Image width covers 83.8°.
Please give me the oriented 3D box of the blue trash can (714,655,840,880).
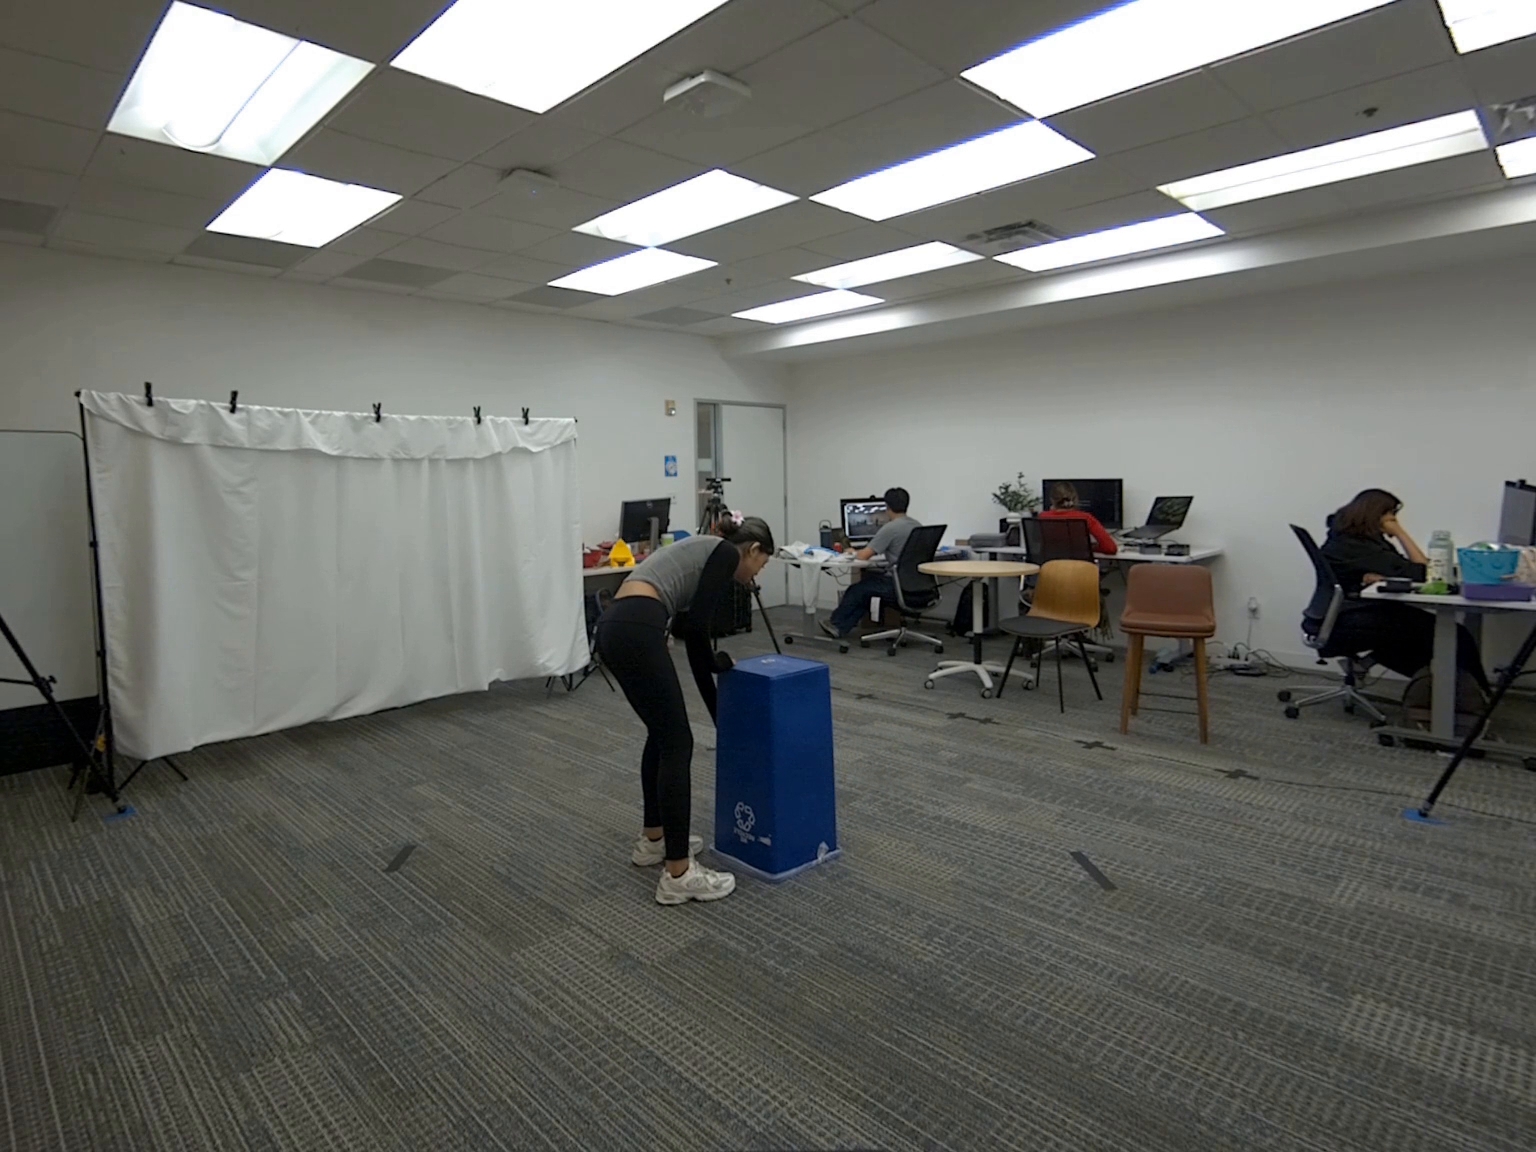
[{"bbox_3d":[0.024,0.682,3.174,0.368,0.712,0.385,-3,4,-41],"label":"blue trash can"}]
